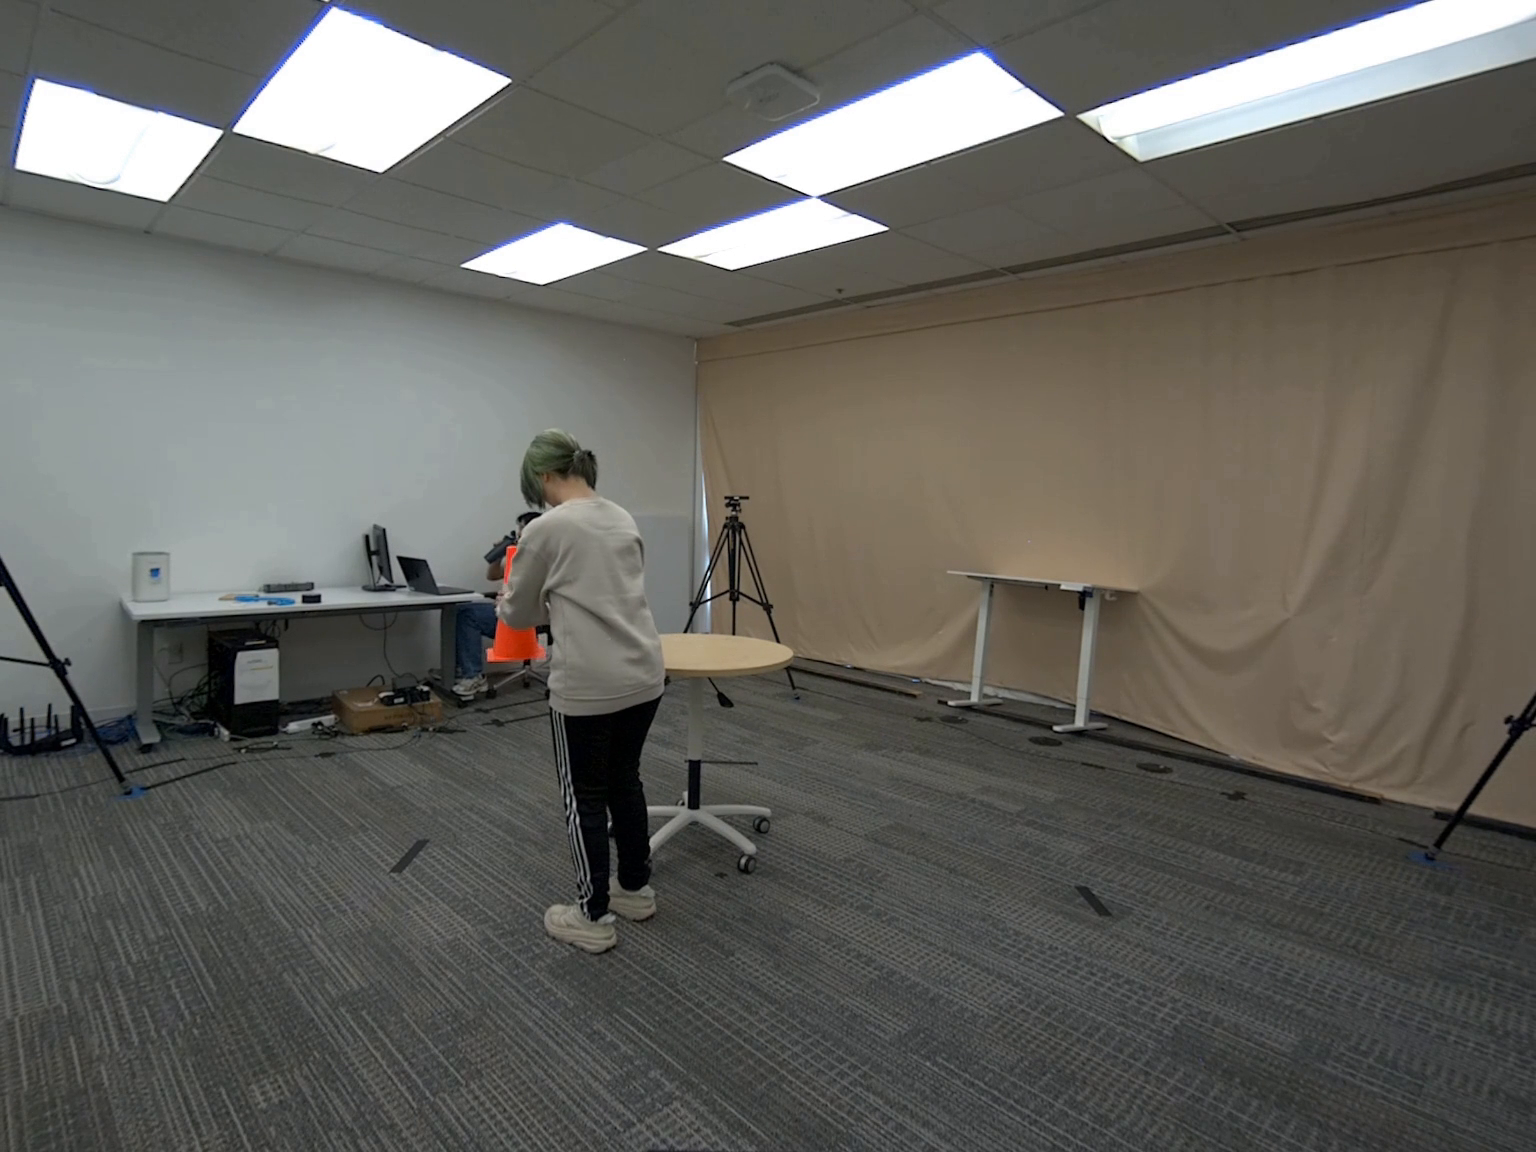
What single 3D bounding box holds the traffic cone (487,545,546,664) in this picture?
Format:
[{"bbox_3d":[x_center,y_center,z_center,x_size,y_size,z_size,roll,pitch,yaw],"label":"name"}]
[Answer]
[{"bbox_3d":[-0.902,0.094,2.953,0.200,0.382,0.209,-2,7,-26],"label":"traffic cone"}]
